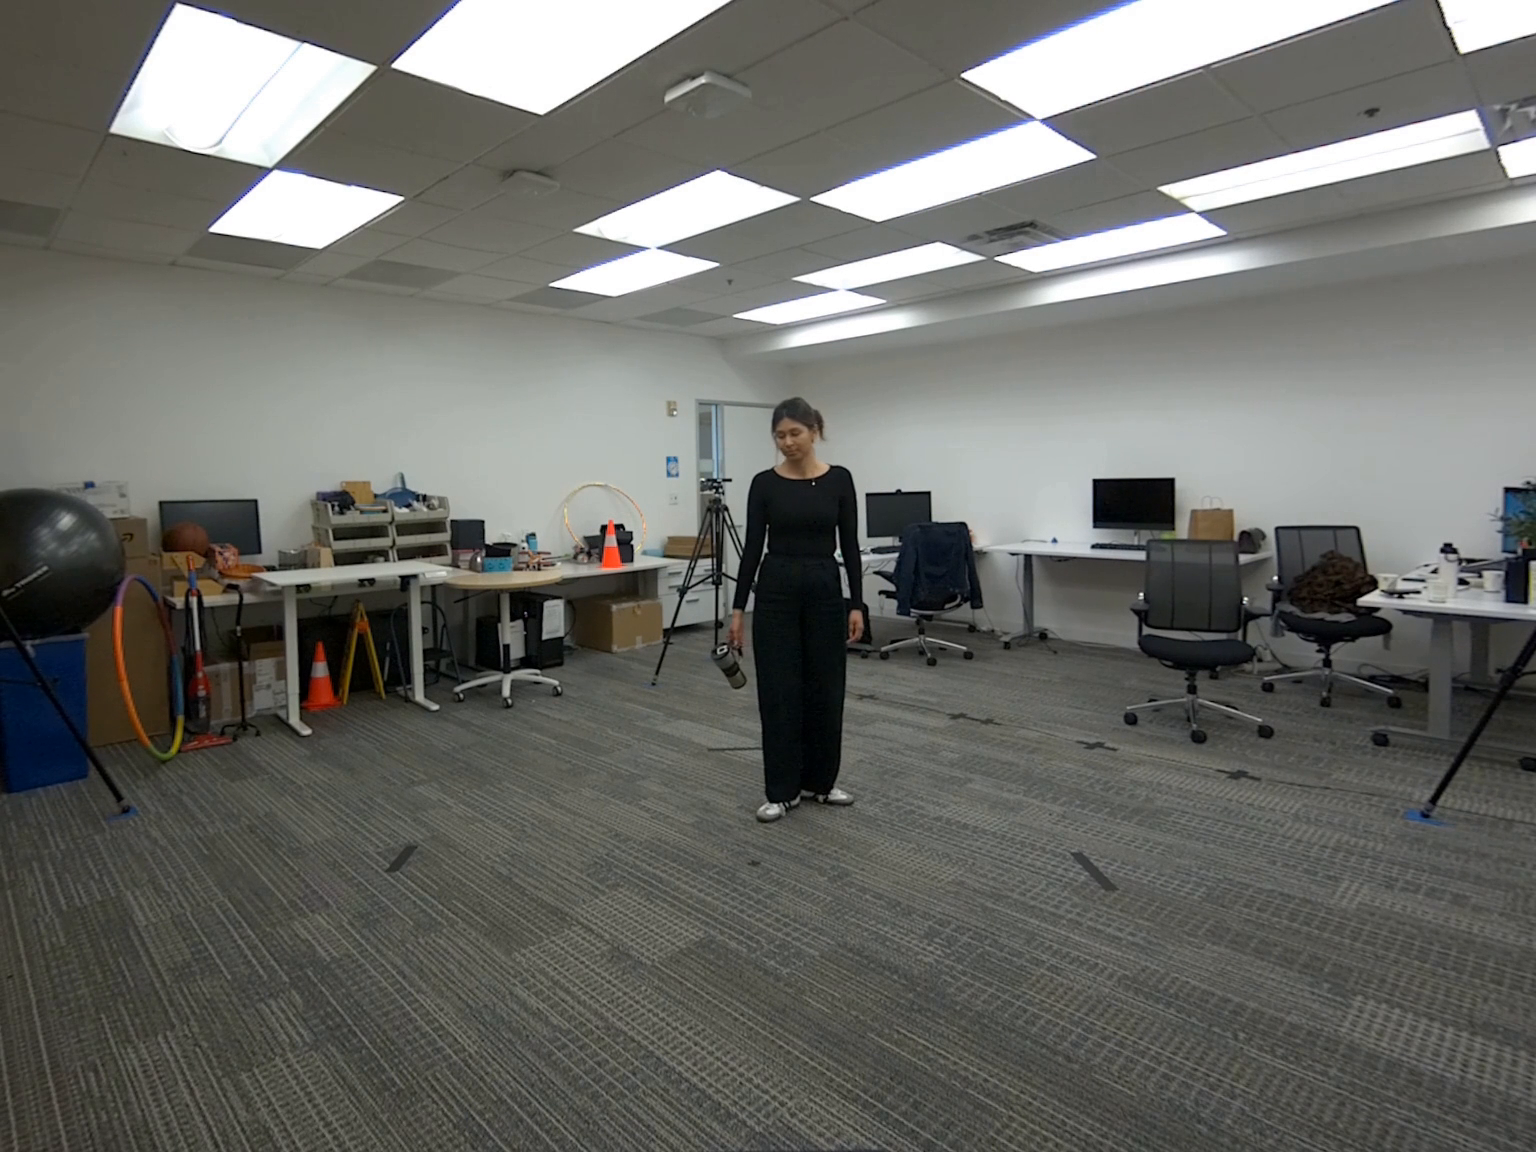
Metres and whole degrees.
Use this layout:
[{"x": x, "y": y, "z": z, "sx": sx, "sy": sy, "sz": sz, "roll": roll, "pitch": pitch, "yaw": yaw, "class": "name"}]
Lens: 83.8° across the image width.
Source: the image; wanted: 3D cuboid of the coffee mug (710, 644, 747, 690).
[{"x": -0.141, "y": 0.363, "z": 3.513, "sx": 0.122, "sy": 0.196, "sz": 0.091, "roll": -46, "pitch": 32, "yaw": -23, "class": "coffee mug"}]
